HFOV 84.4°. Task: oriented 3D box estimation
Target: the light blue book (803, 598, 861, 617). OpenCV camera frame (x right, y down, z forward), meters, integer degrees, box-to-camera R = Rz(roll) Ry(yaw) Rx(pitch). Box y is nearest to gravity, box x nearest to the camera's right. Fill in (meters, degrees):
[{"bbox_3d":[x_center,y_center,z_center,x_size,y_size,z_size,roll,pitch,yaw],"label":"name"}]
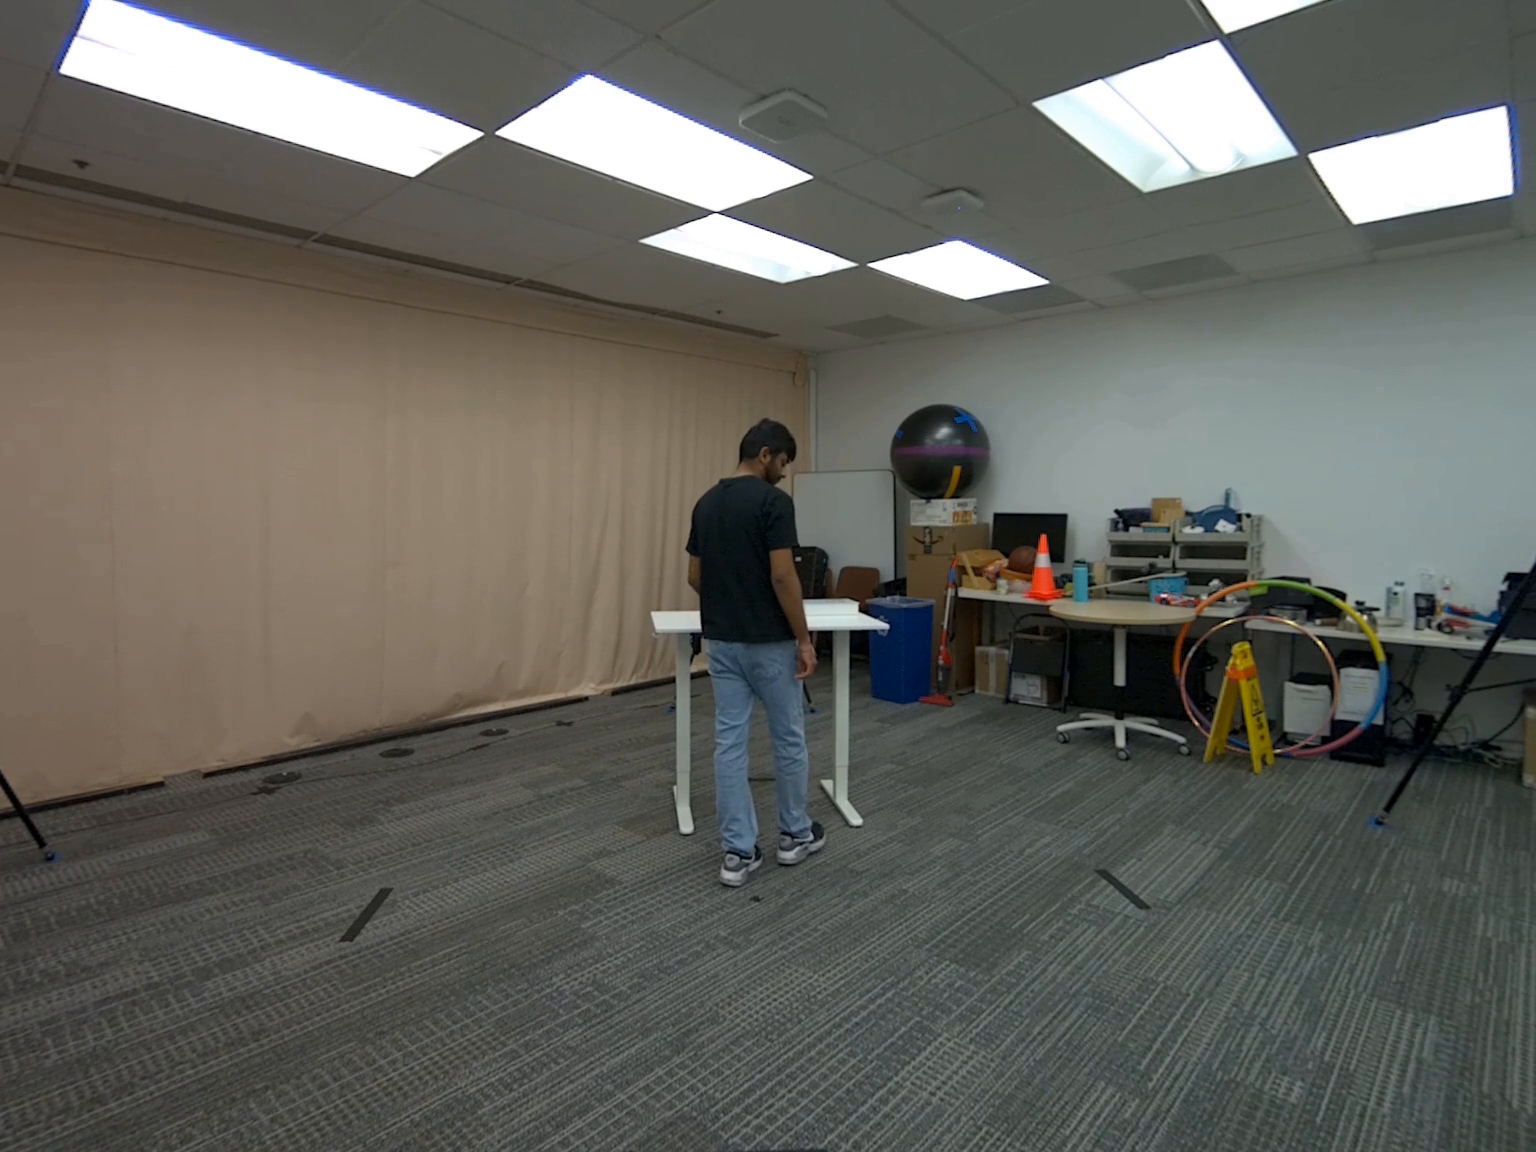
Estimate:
[{"bbox_3d":[0.280,0.145,4.034,0.258,0.059,0.194,-1,4,-12],"label":"light blue book"}]
